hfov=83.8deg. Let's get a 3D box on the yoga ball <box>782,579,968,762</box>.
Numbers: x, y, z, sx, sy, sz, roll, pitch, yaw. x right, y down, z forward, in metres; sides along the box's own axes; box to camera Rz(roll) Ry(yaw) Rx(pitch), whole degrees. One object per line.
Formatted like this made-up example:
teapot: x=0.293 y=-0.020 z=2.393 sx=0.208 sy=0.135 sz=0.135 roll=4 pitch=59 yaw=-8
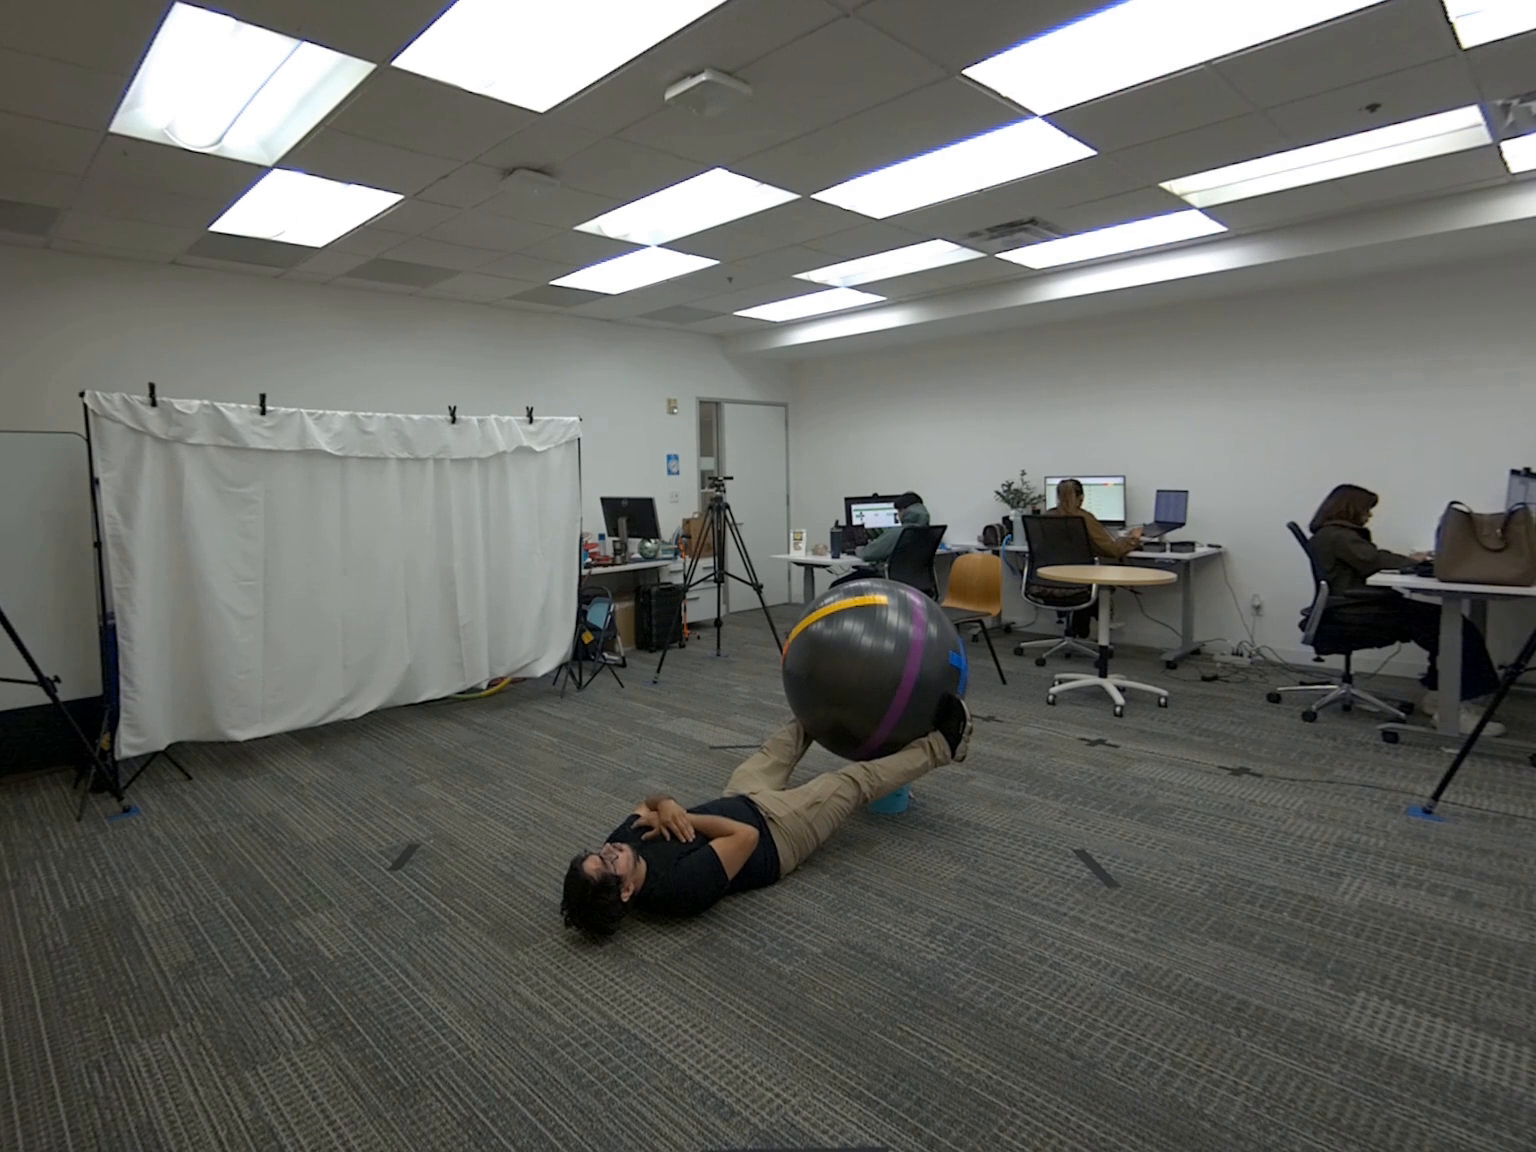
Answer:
yoga ball: x=0.440 y=0.394 z=3.553 sx=0.757 sy=0.755 sz=0.762 roll=-1 pitch=5 yaw=-2
